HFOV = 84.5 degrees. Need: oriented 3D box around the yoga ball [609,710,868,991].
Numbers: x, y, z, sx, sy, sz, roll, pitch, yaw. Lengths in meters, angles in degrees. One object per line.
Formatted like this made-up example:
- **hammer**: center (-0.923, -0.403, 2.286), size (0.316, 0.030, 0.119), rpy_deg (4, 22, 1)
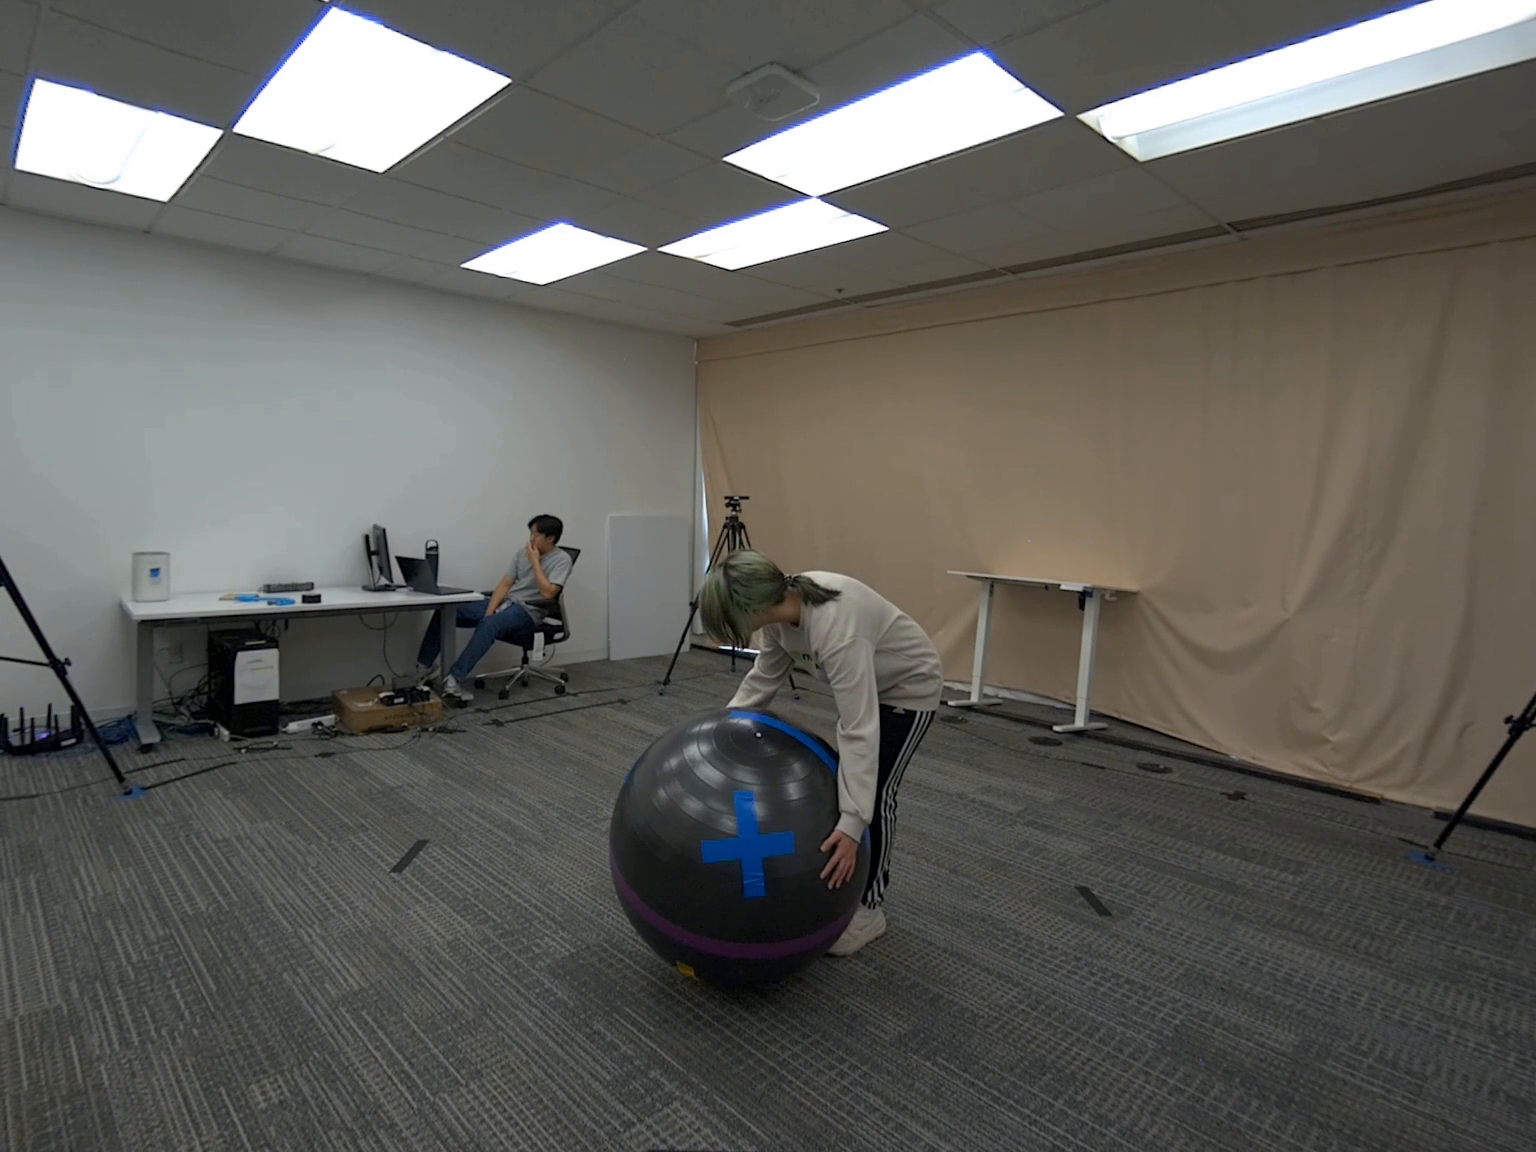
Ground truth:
- **yoga ball**: center (-0.084, 0.779, 2.446), size (0.757, 0.756, 0.761), rpy_deg (1, 4, -1)
